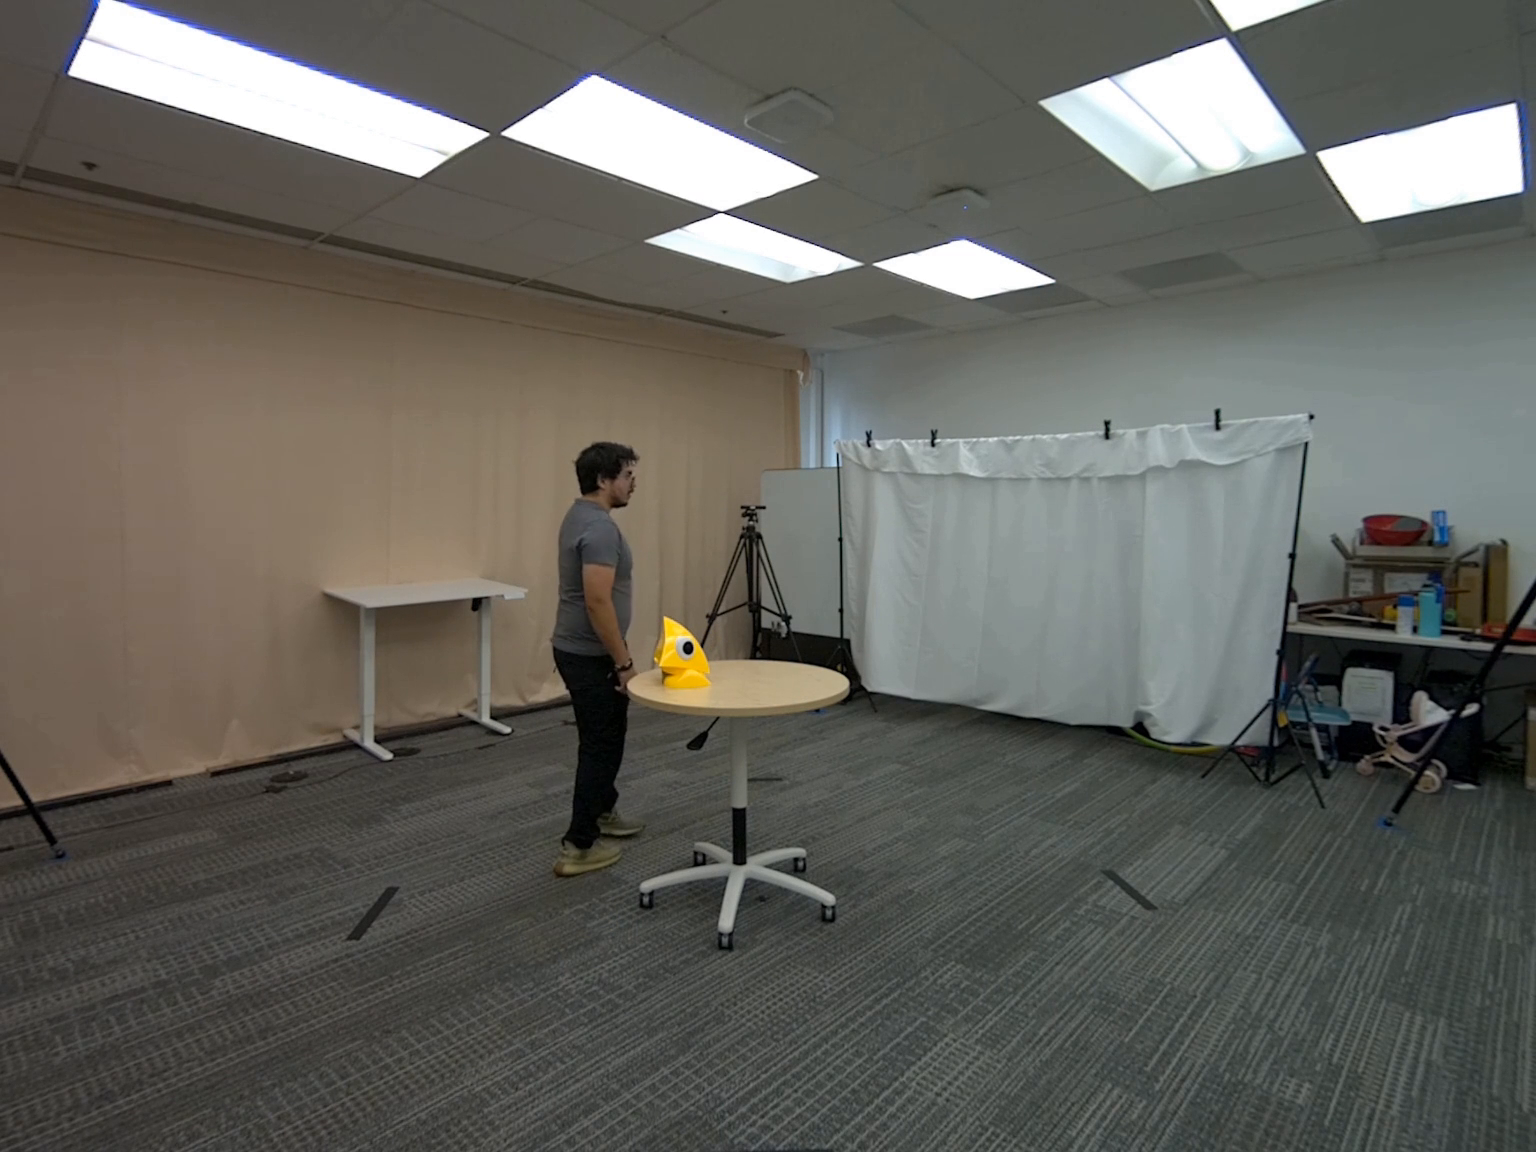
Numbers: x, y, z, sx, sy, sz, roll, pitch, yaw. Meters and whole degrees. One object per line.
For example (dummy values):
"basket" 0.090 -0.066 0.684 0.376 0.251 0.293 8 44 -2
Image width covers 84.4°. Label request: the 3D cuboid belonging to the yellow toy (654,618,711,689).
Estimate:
"yellow toy" -0.294 0.255 2.912 0.191 0.230 0.207 -2 4 -11
